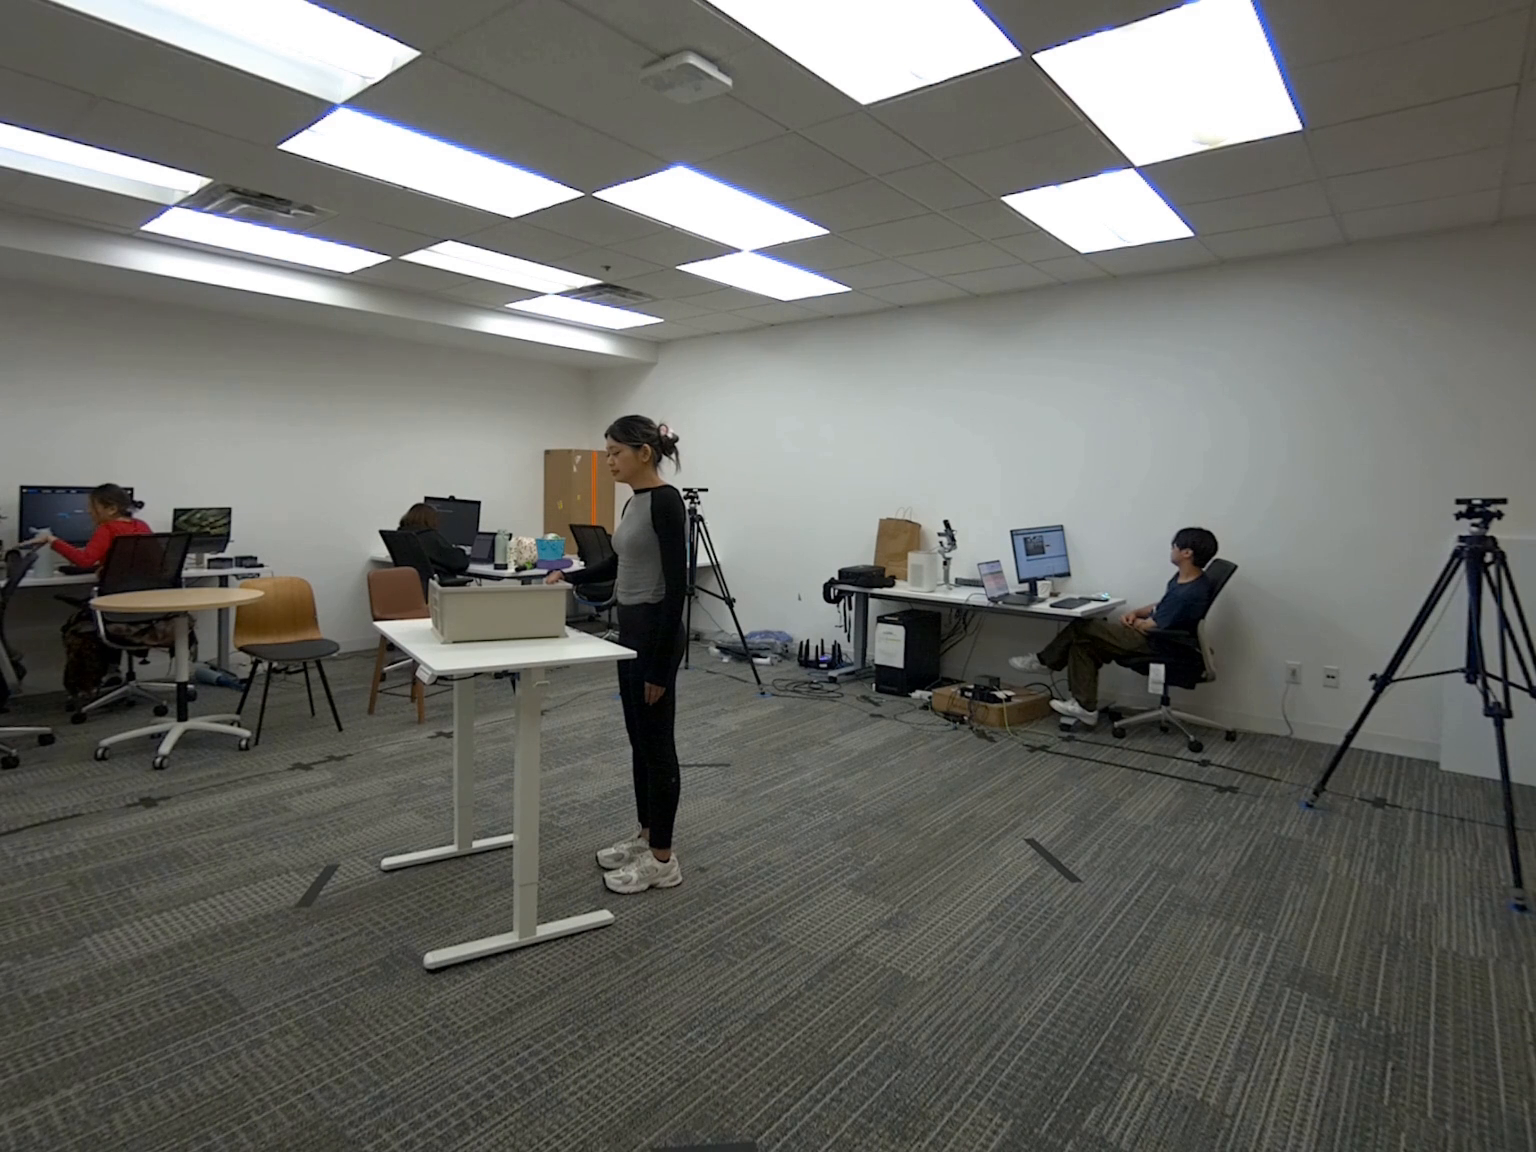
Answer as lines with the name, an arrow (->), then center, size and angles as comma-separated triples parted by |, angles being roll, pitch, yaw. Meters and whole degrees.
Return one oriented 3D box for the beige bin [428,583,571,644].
beige bin -> -0.944, 0.104, 2.928 | 0.412, 0.188, 0.388 | -1, 7, -26
